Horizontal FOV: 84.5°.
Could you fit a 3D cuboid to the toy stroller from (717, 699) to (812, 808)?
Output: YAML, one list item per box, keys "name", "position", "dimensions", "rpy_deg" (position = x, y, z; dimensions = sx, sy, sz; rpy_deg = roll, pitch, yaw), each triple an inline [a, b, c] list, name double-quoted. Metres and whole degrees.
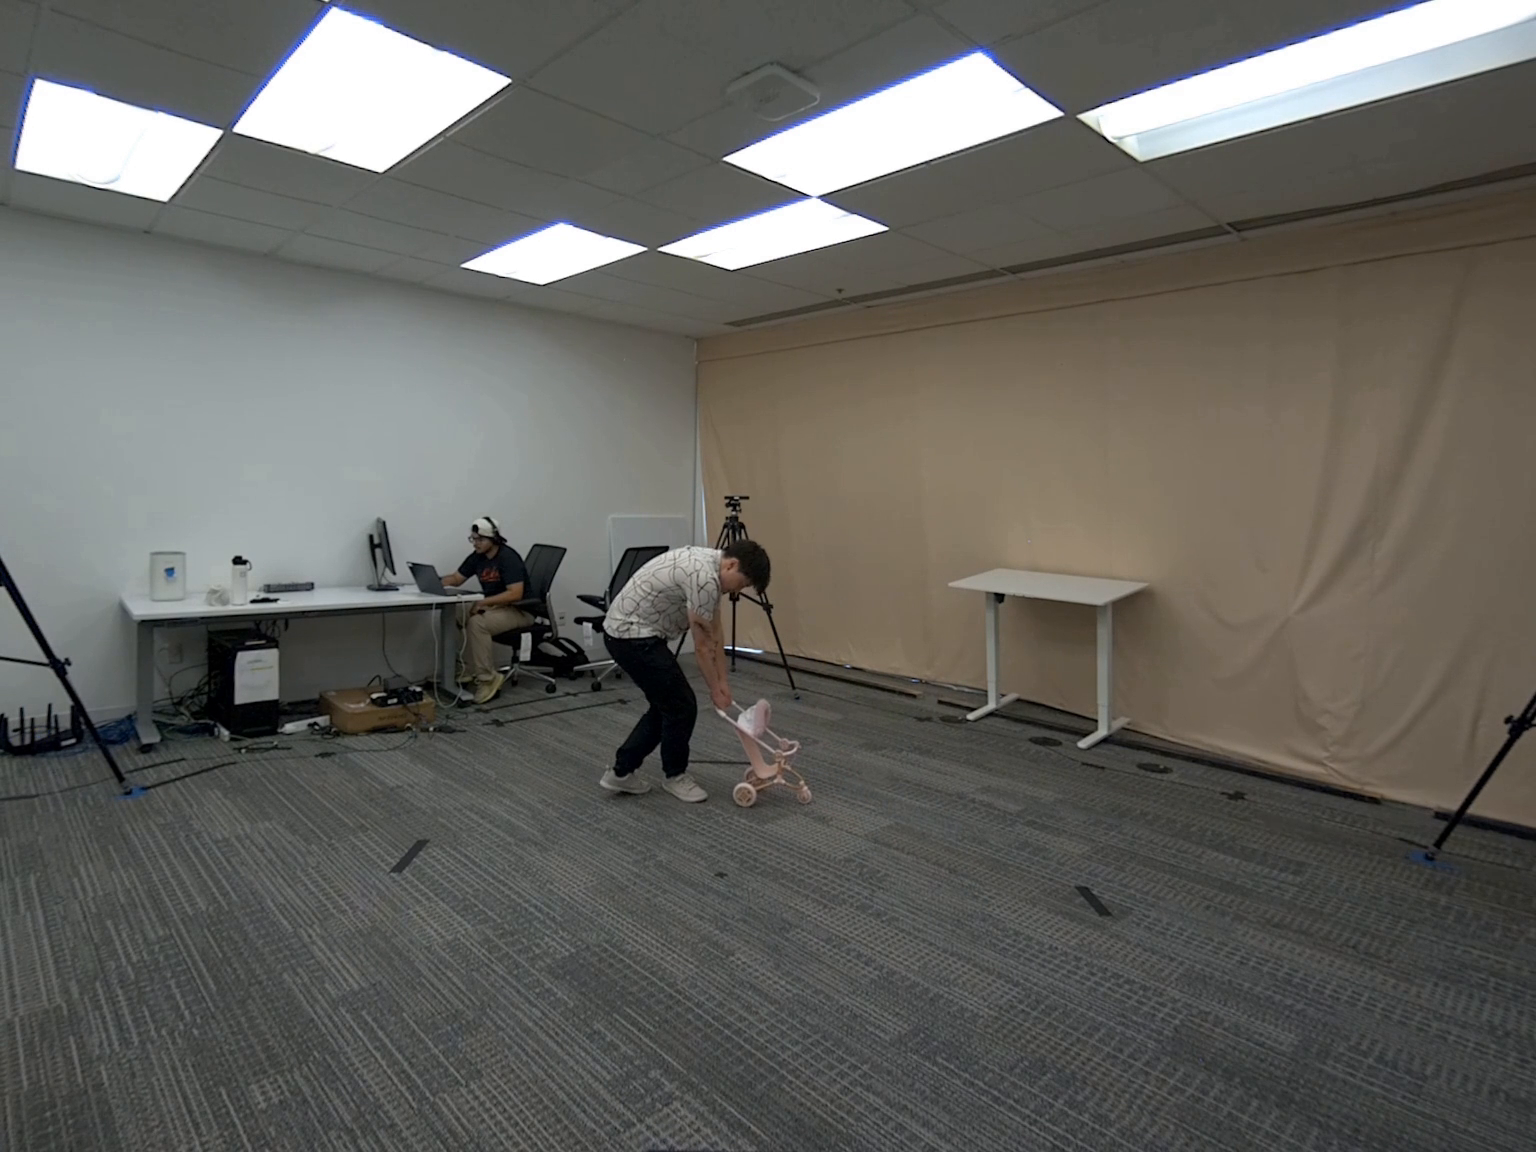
- name: "toy stroller"
  position: [-0.019, 0.813, 3.897]
  dimensions: [0.345, 0.535, 0.278]
  rpy_deg: [-13, 0, 17]
